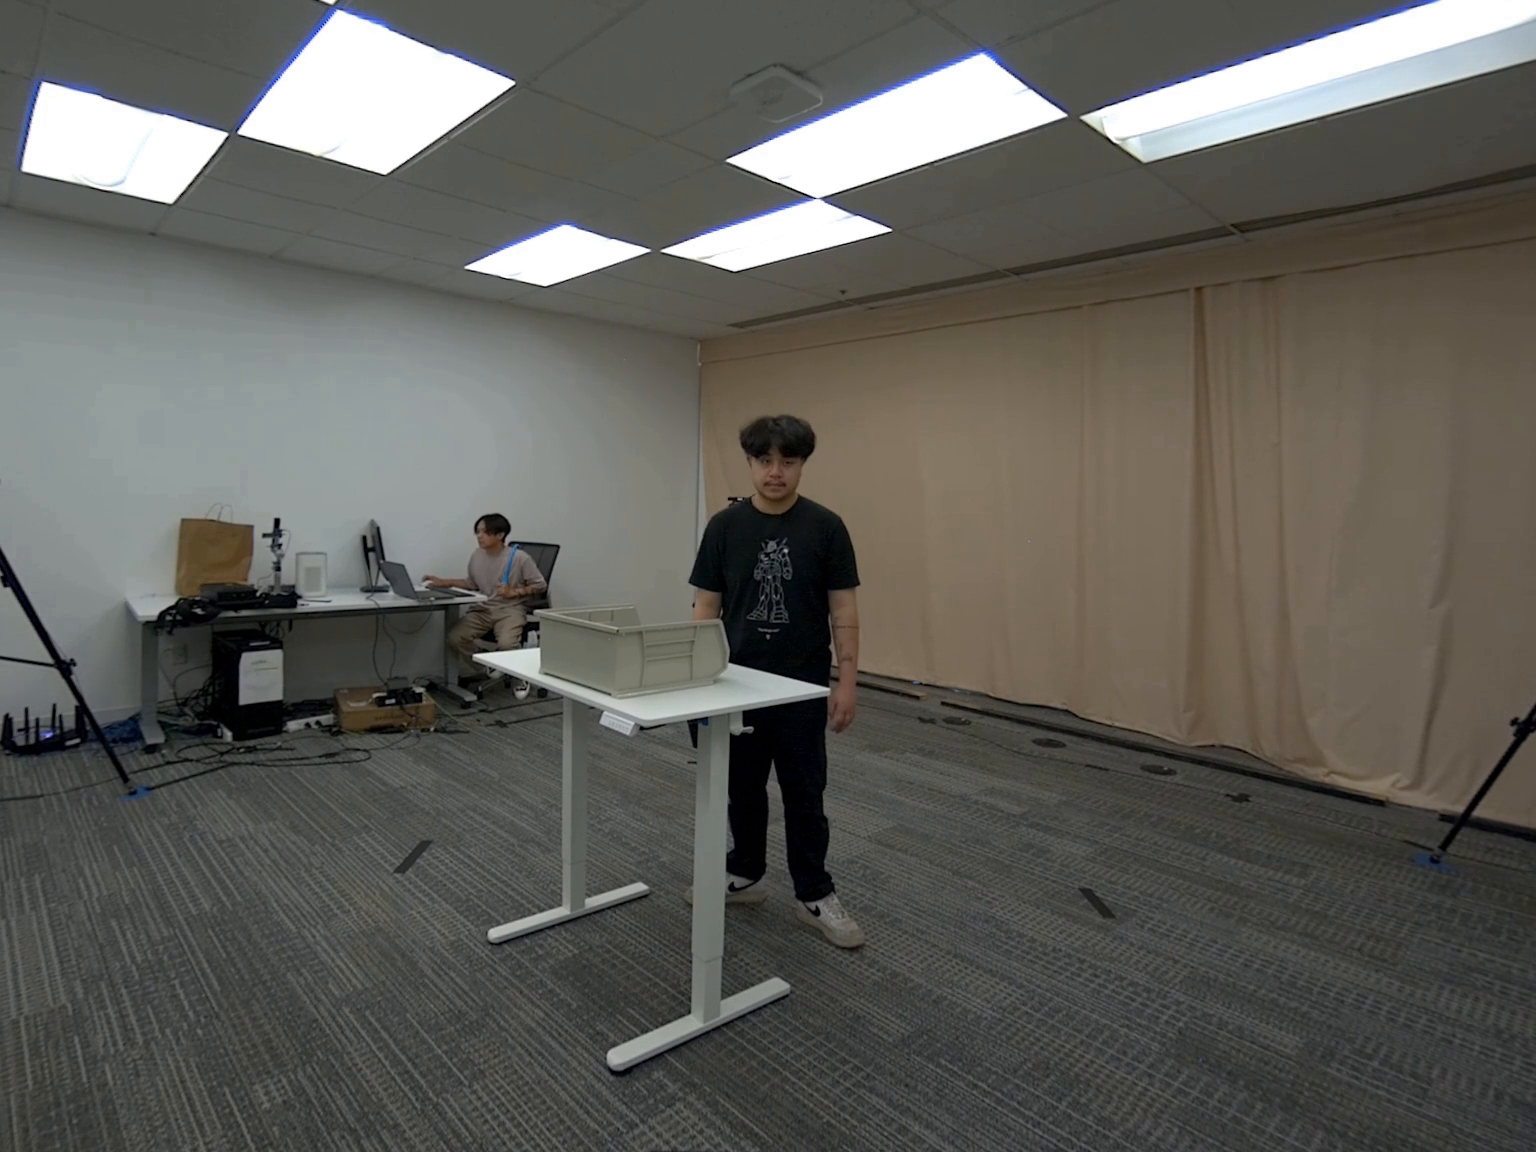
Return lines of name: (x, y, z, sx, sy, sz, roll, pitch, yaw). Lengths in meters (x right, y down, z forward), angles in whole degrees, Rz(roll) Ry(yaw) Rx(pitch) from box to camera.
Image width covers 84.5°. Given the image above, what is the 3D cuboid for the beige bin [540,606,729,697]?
beige bin: (-0.391, 0.201, 2.355, 0.369, 0.188, 0.433, -3, 6, -42)
